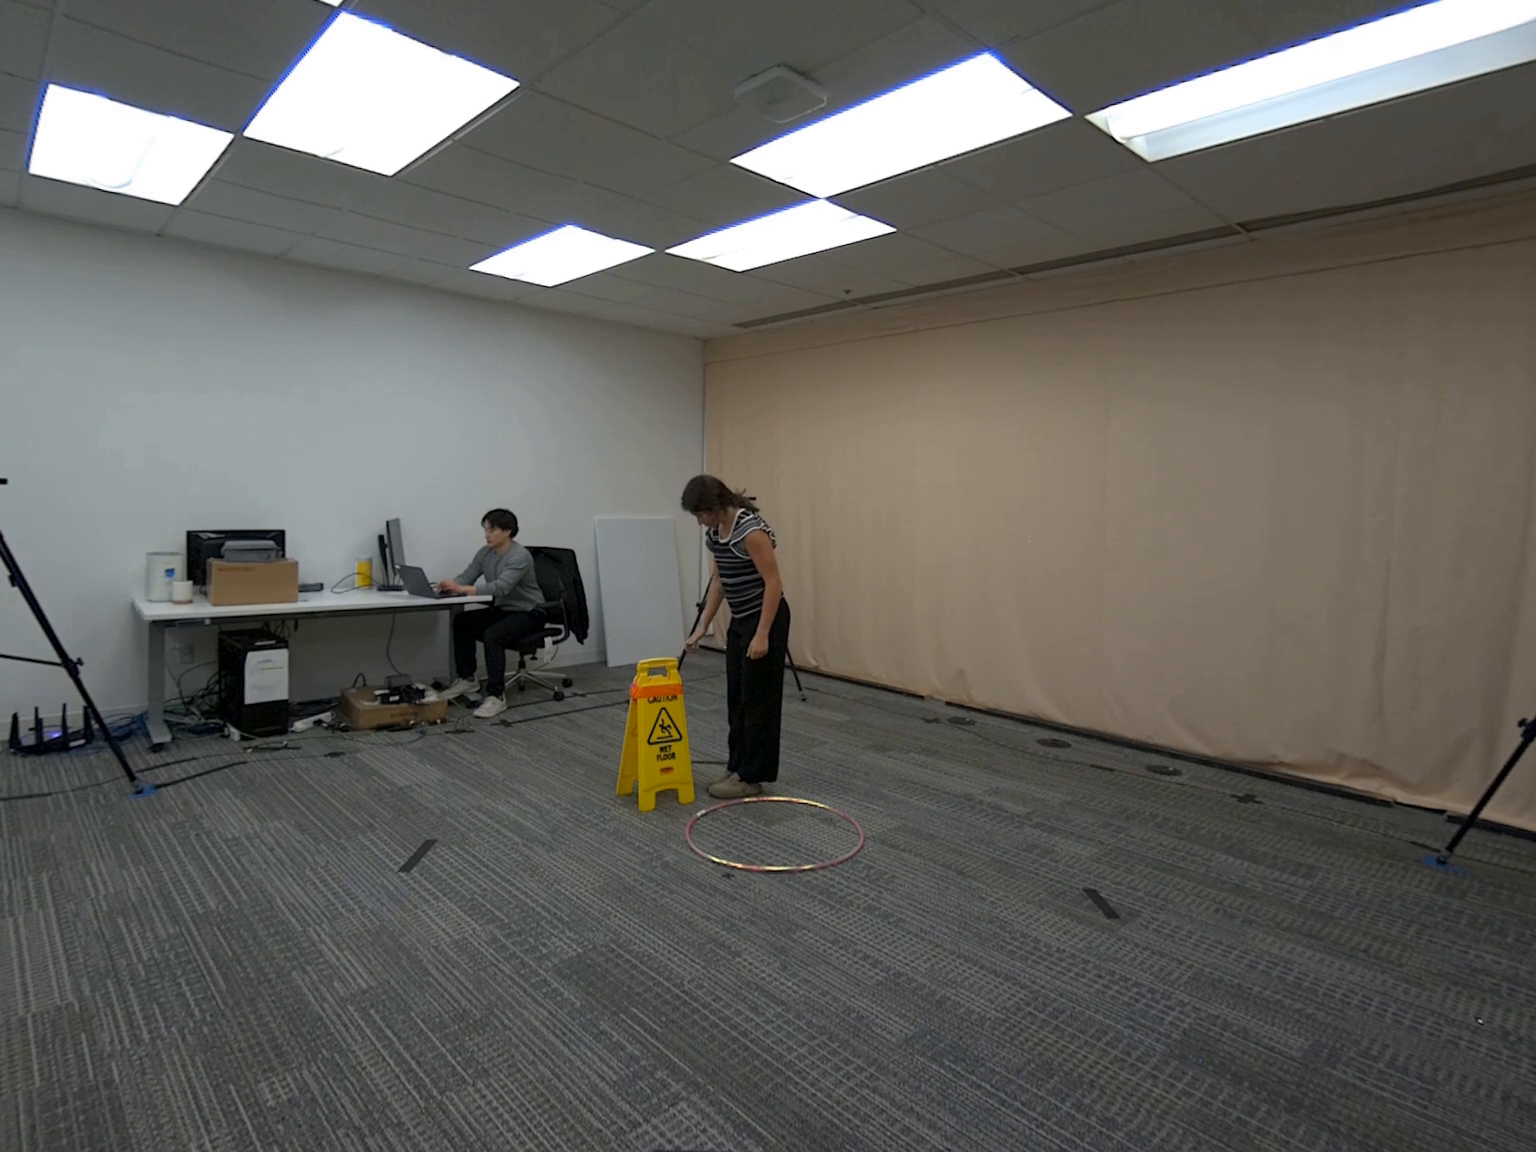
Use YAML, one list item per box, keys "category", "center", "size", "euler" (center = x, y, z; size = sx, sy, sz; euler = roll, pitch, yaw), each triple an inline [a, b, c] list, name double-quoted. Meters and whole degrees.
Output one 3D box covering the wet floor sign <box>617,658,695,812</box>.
- category: "wet floor sign"
  center: [-0.522, 0.705, 3.879]
  size: [0.276, 0.644, 0.297]
  euler: [-1, 4, -33]
